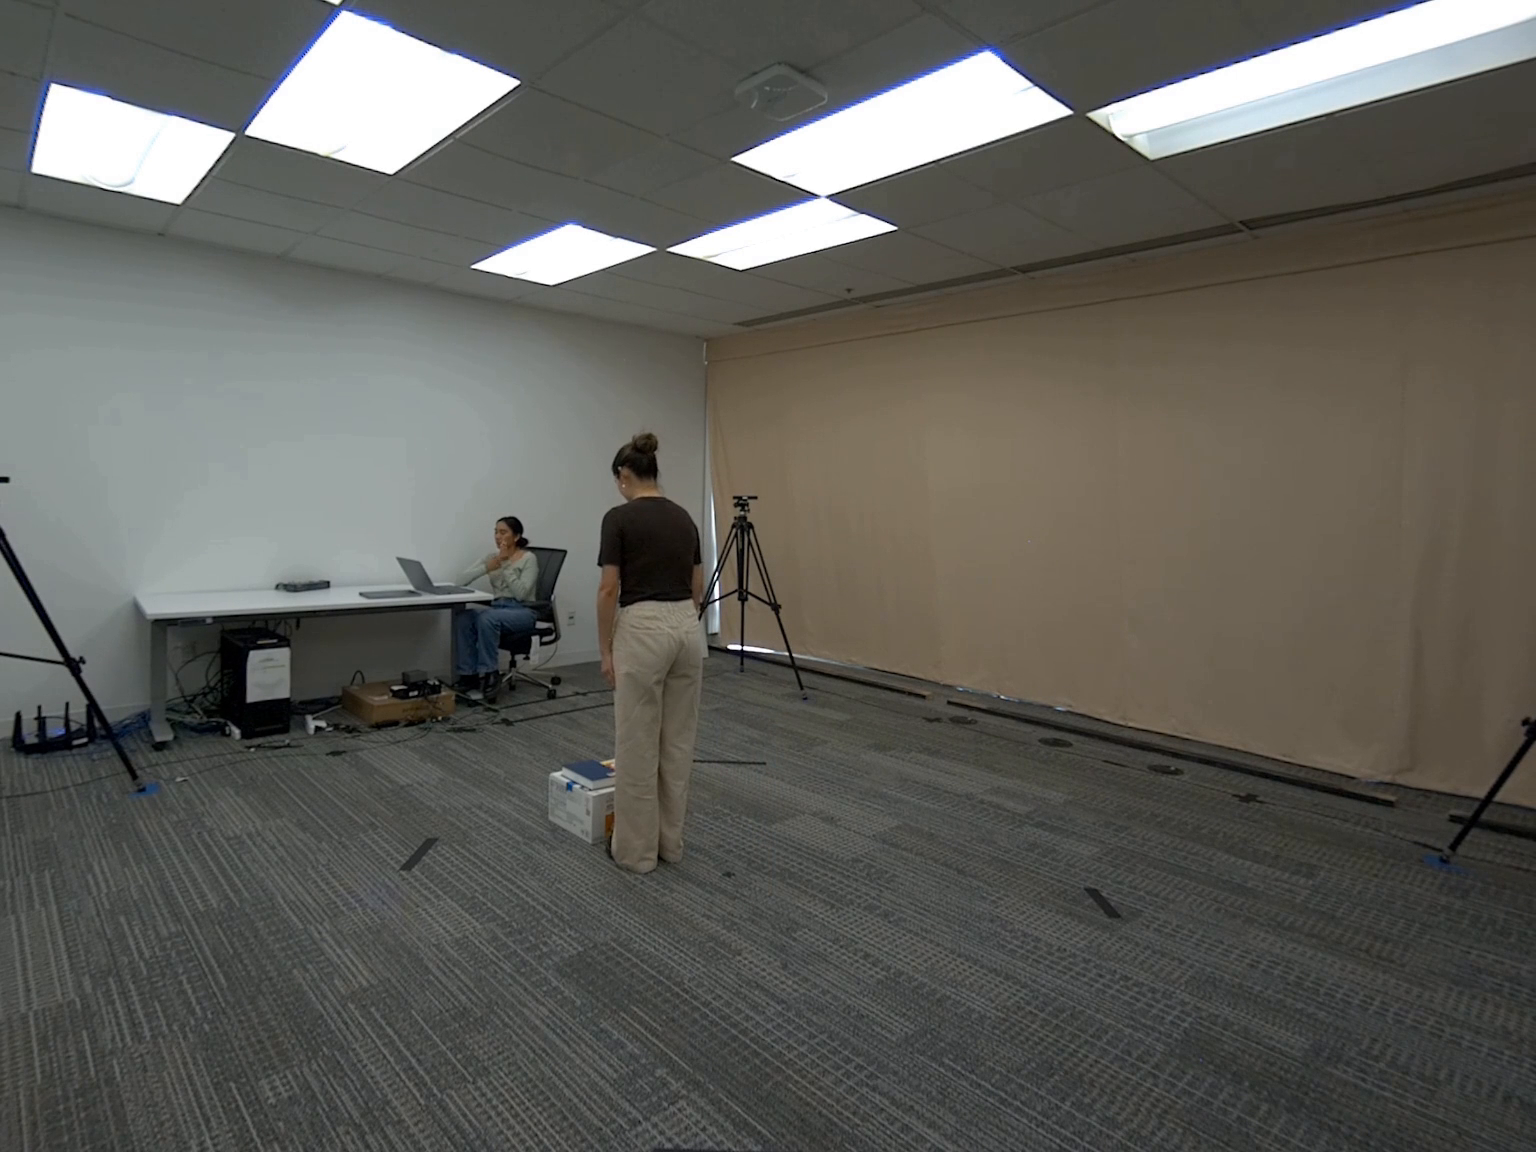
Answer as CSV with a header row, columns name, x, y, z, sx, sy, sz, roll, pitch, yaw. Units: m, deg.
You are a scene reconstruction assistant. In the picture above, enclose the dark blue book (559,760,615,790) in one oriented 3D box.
name,x,y,z,sx,sy,sz,roll,pitch,yaw
dark blue book,-0.742,0.831,3.521,0.159,0.045,0.251,1,5,-43
